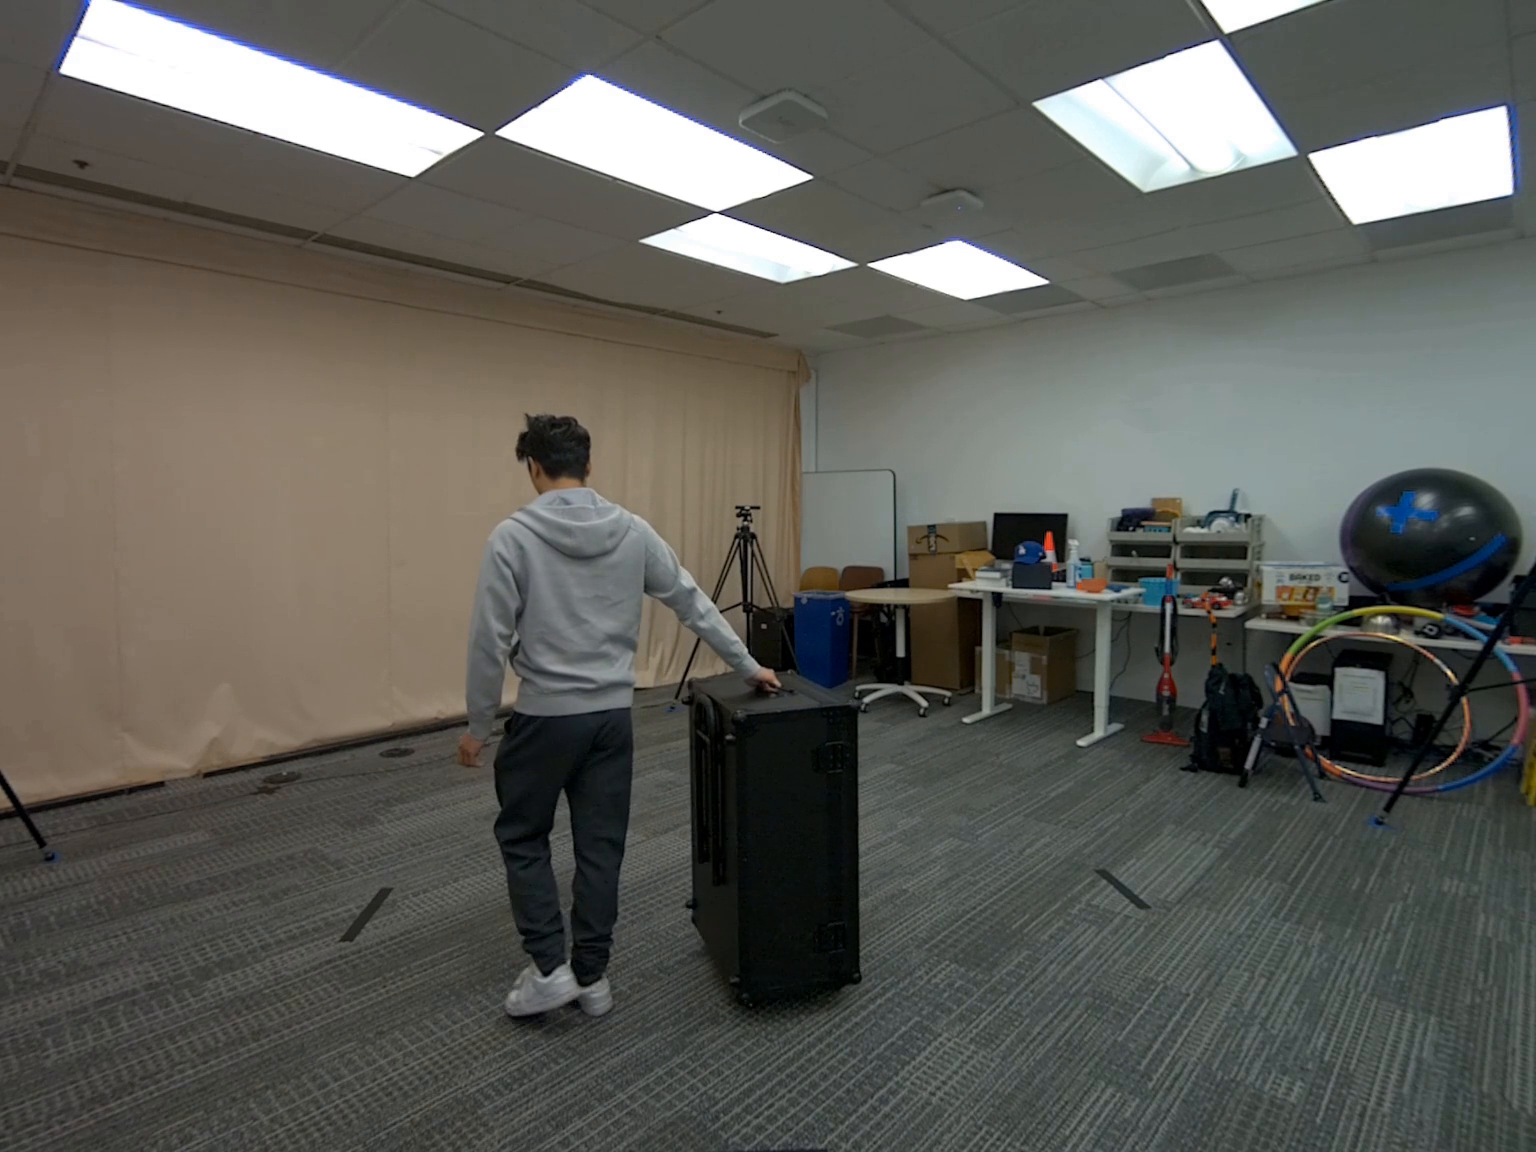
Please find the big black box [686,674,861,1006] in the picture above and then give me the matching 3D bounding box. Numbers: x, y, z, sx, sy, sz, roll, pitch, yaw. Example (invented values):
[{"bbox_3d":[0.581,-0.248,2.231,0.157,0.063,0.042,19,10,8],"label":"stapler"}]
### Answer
[{"bbox_3d":[0.000,0.764,2.479,0.389,0.859,0.532,-3,4,-19],"label":"big black box"}]
